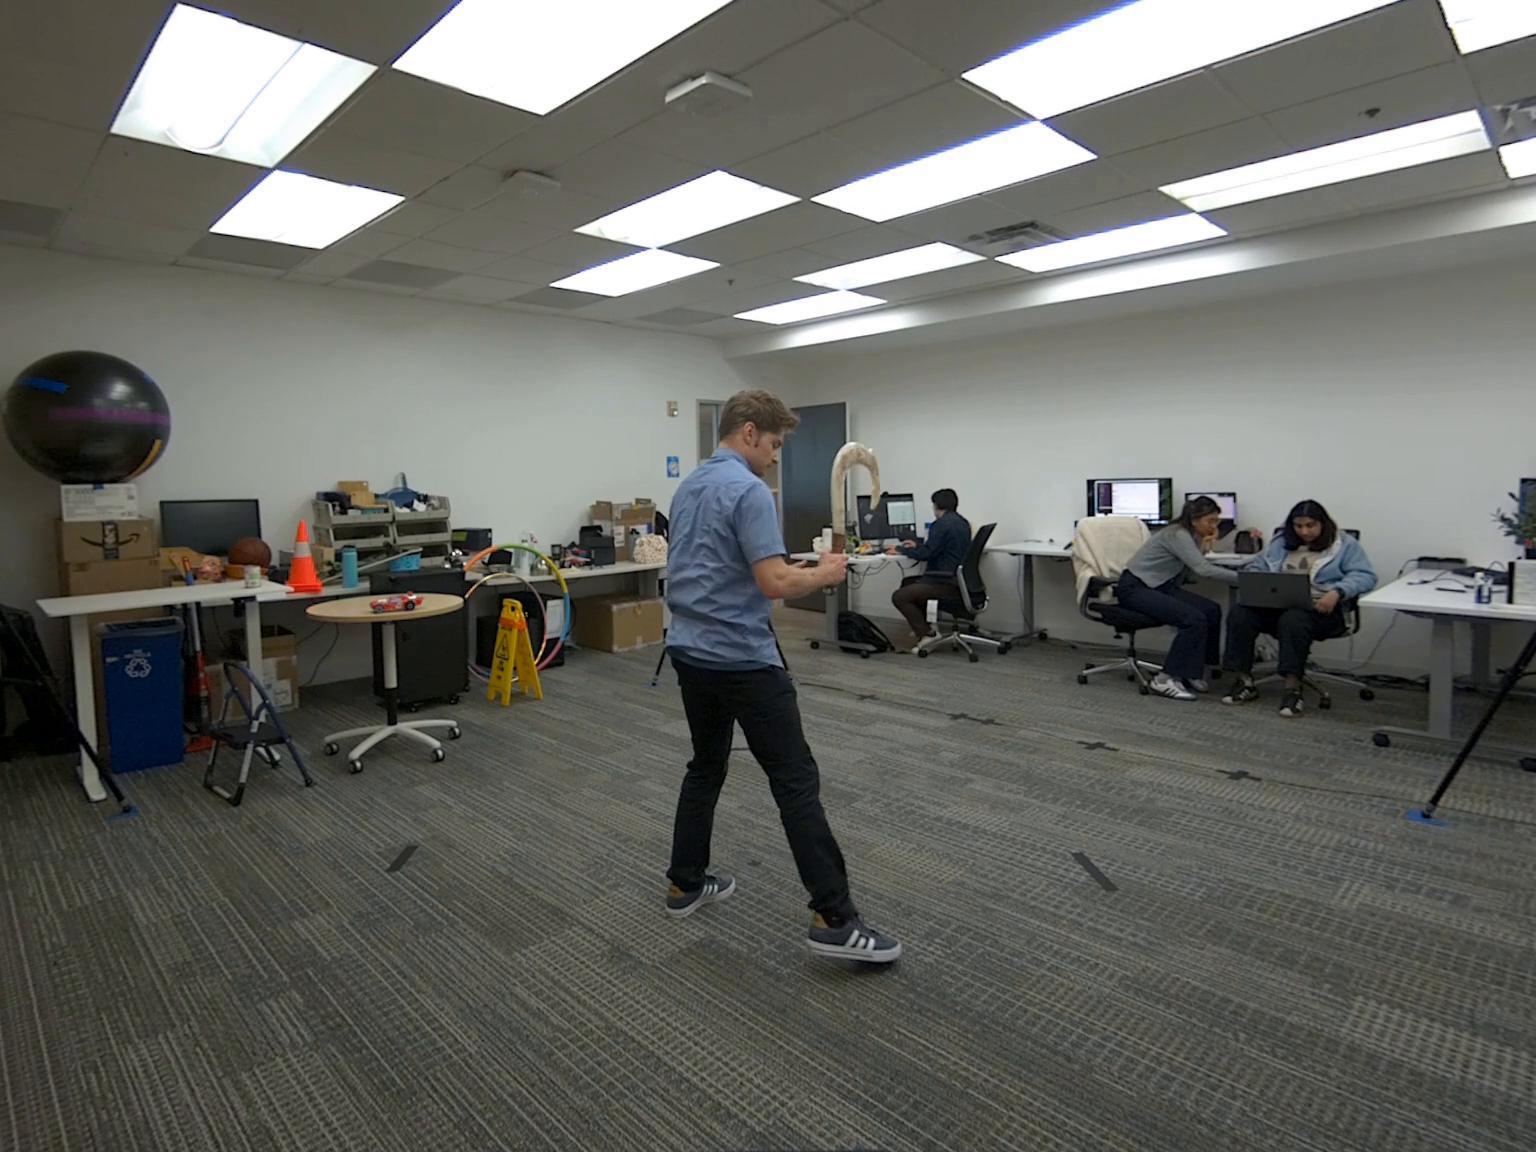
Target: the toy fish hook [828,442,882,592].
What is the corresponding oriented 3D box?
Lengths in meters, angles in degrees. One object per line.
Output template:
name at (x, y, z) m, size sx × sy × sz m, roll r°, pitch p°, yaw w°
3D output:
toy fish hook at (0.280, -0.177, 2.758) m, size 0.217 × 0.509 × 0.049 m, roll 16°, pitch -9°, yaw -33°
